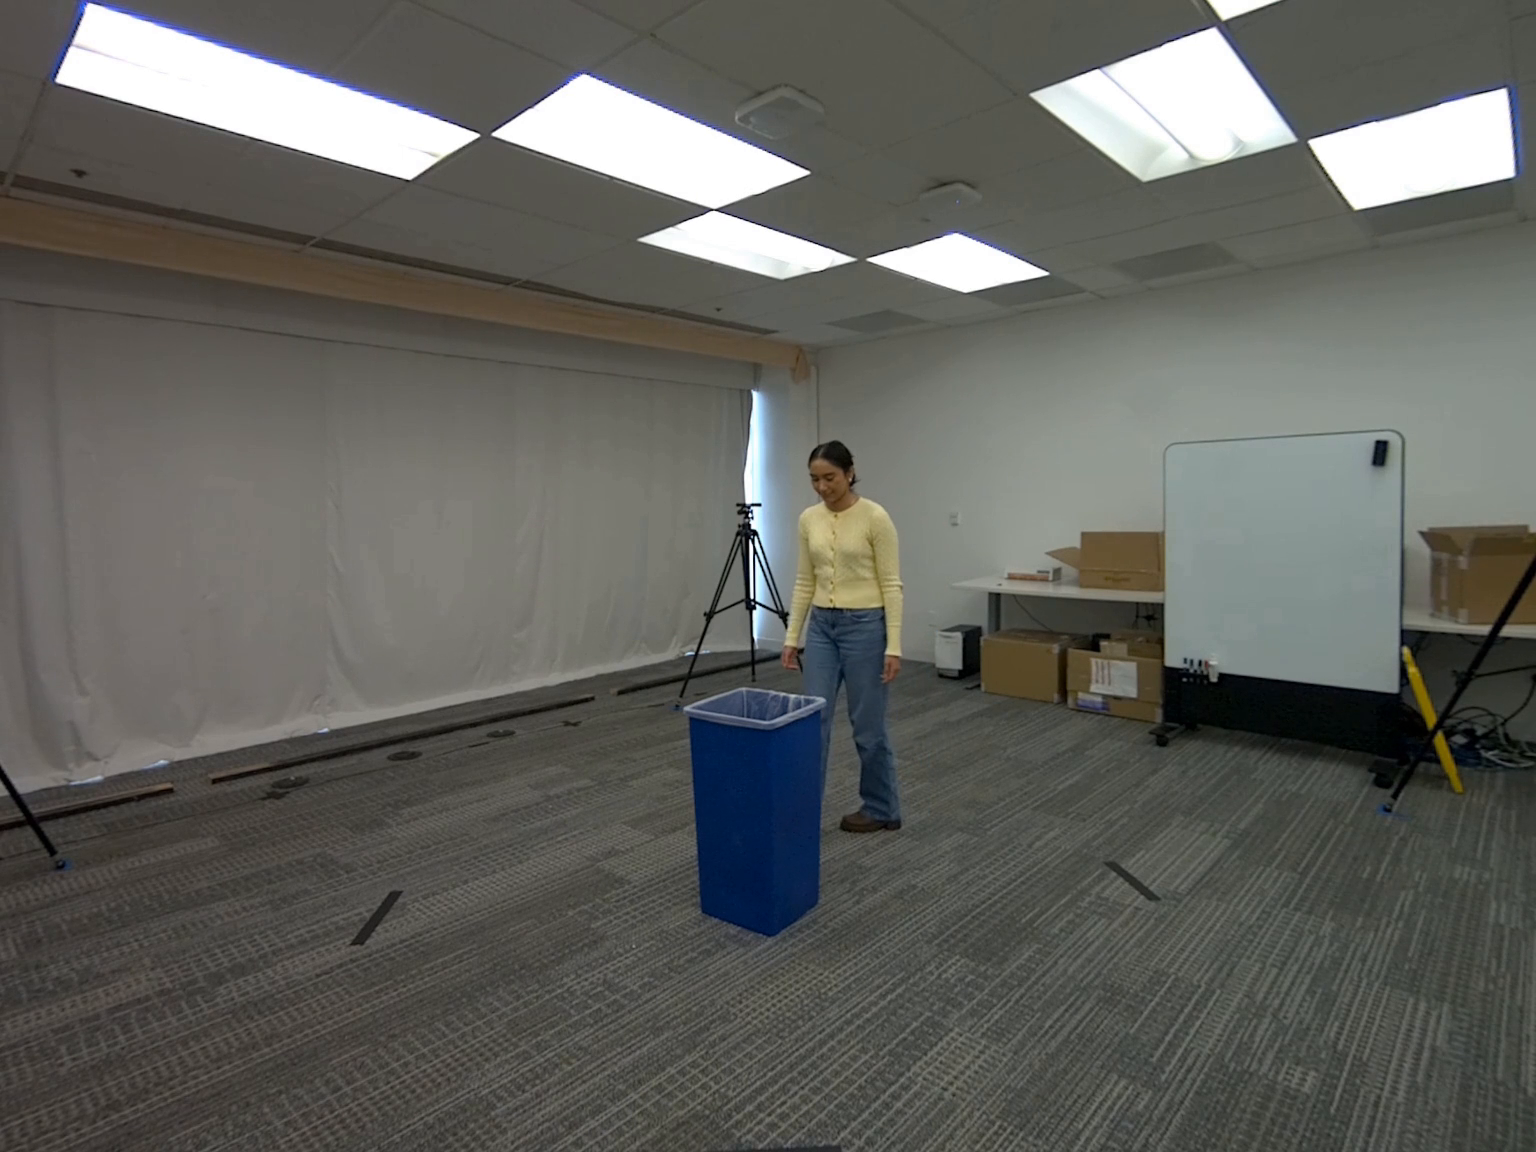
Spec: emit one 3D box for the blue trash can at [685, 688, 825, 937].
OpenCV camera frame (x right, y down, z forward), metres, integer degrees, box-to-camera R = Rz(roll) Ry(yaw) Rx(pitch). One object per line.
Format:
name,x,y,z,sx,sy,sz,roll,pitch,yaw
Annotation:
blue trash can,-0.031,0.789,2.875,0.390,0.712,0.363,1,4,35
